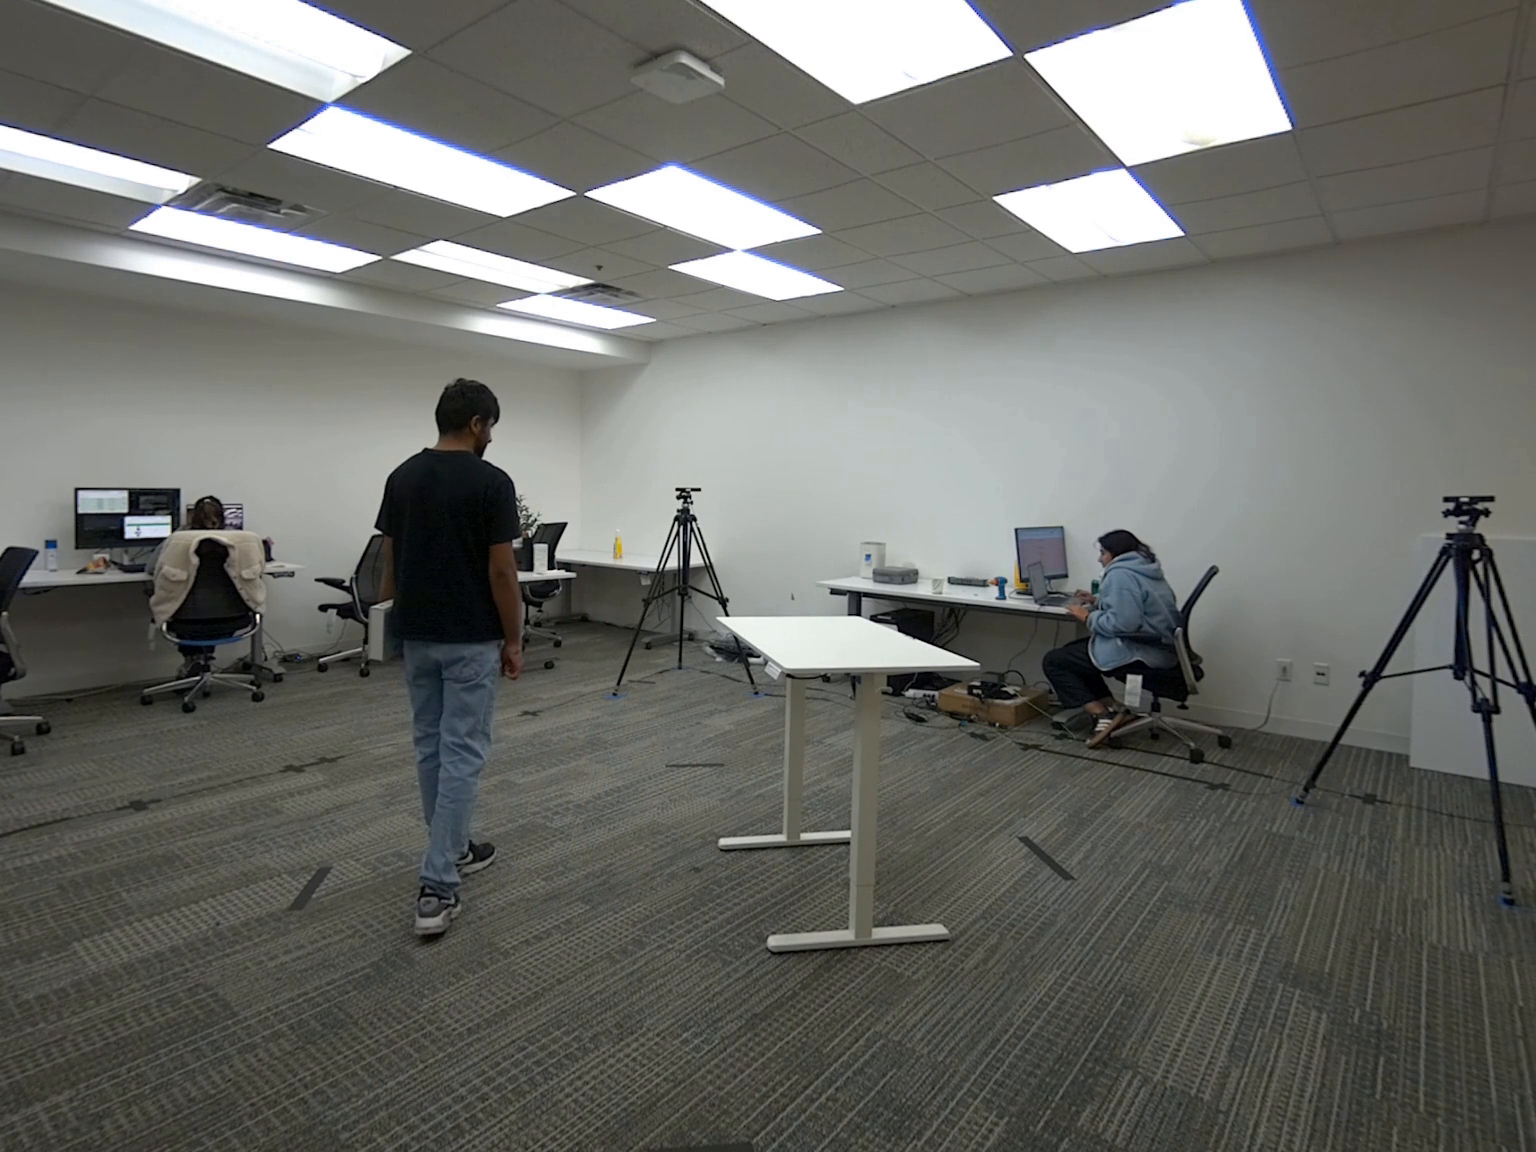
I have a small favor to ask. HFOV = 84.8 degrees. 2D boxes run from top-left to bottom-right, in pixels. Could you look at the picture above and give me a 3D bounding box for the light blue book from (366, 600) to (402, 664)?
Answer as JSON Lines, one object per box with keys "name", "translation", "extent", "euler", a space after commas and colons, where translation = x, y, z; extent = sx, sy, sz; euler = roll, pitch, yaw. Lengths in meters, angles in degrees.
{"name": "light blue book", "translation": [-1.263, 0.161, 2.918], "extent": [0.060, 0.189, 0.261], "euler": [10, 16, 9]}
